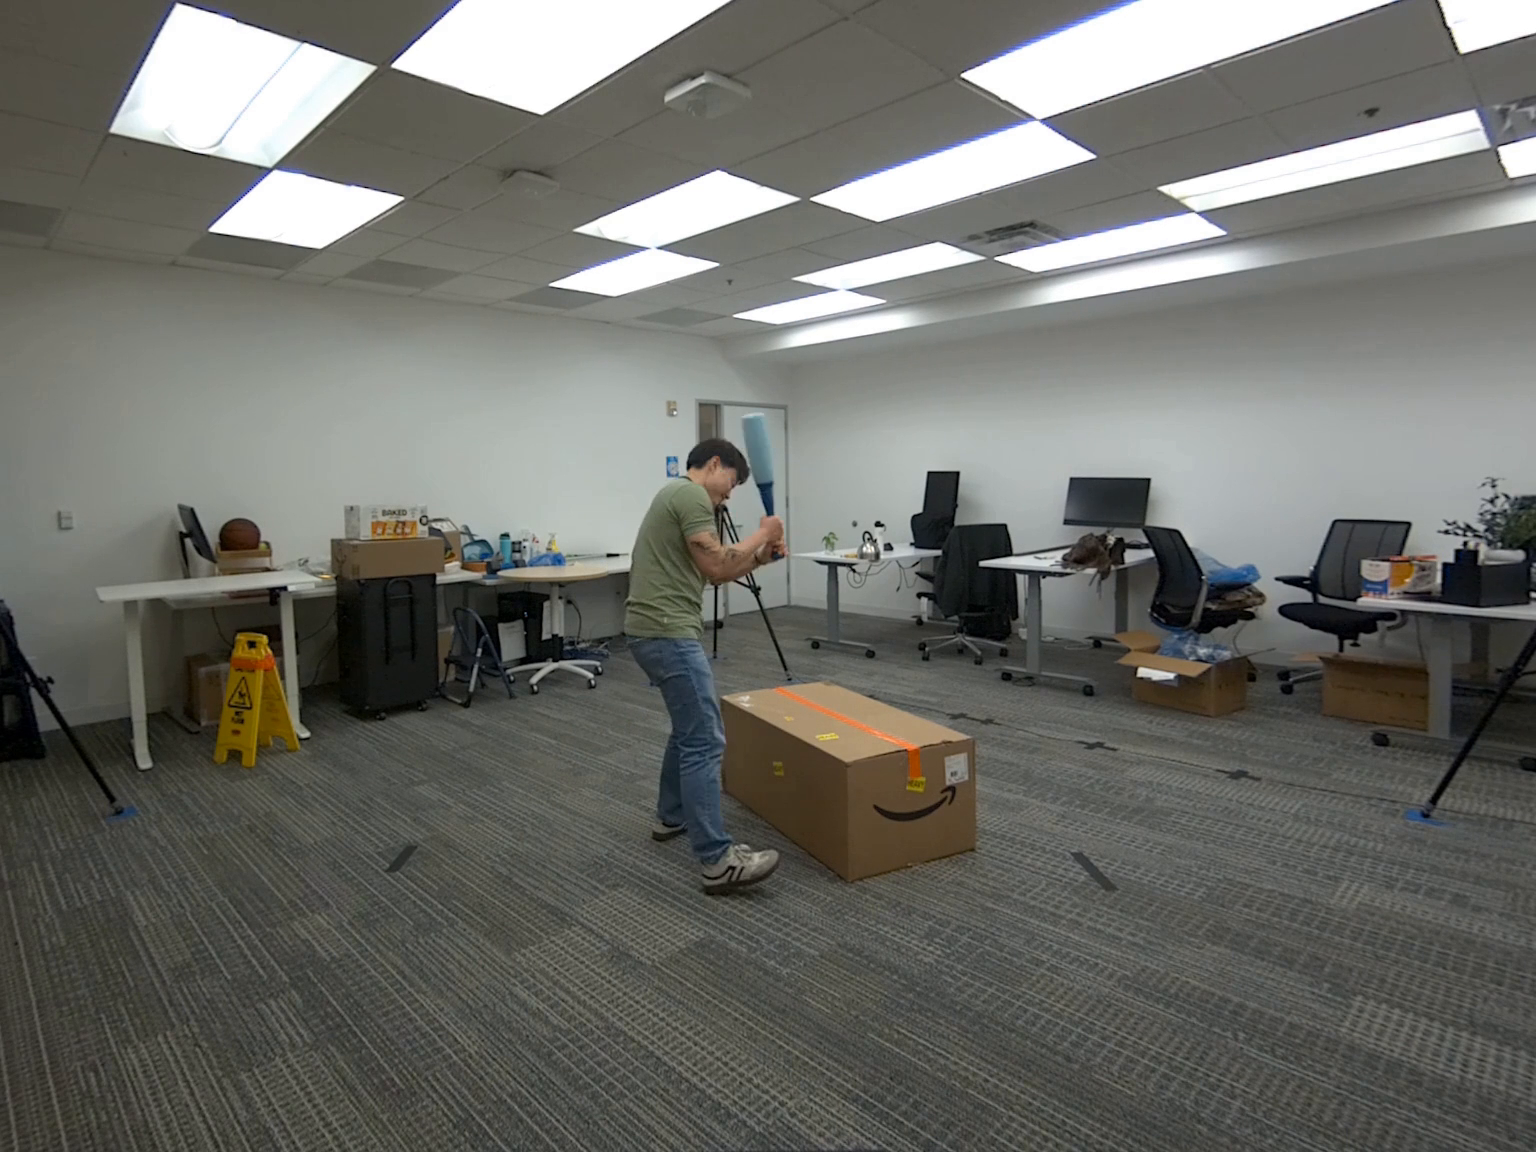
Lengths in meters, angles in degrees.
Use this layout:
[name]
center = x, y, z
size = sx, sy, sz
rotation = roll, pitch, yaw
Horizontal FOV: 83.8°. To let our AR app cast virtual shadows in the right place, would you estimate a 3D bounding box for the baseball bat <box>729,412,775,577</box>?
[baseball bat]
center = -0.016, -0.306, 3.133
size = 0.089, 0.537, 0.090
rotation = -10, 9, 0
